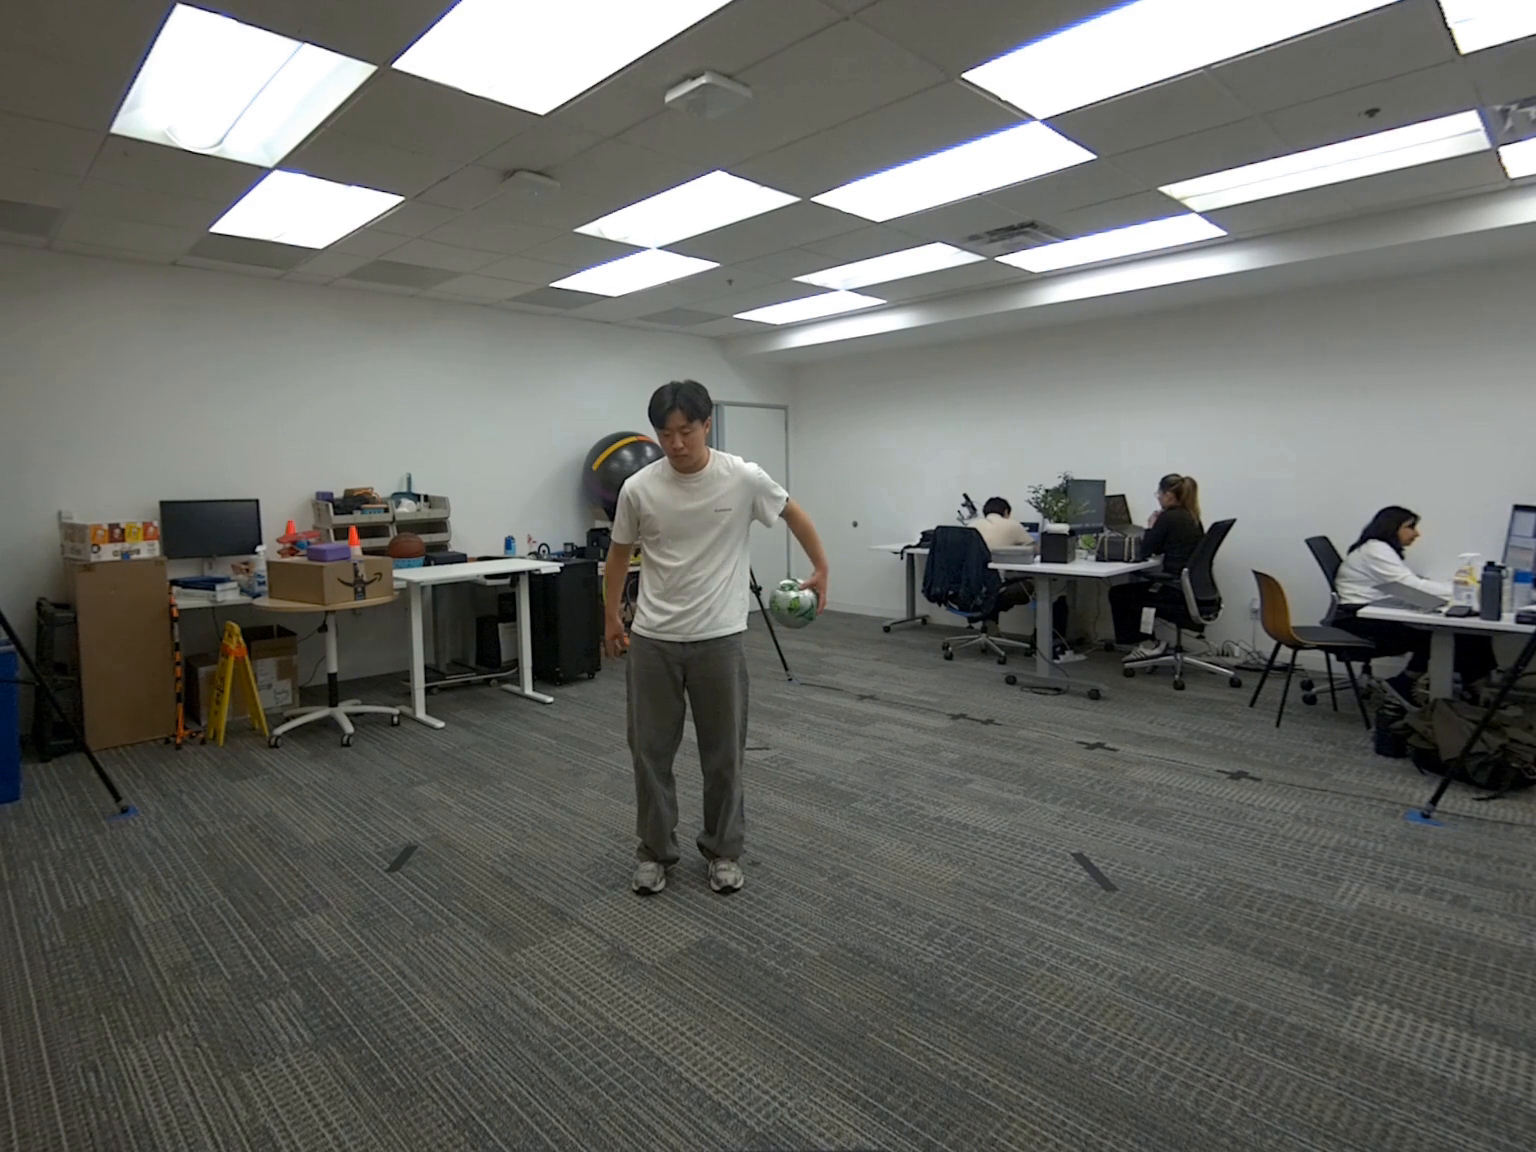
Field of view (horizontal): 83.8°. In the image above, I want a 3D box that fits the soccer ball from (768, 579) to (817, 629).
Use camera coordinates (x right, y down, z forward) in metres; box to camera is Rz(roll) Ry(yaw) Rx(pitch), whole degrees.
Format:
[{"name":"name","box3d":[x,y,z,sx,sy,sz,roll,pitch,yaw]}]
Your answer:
[{"name":"soccer ball","box3d":[0.076,0.103,3.125,0.187,0.187,0.188,-1,5,-2]}]
